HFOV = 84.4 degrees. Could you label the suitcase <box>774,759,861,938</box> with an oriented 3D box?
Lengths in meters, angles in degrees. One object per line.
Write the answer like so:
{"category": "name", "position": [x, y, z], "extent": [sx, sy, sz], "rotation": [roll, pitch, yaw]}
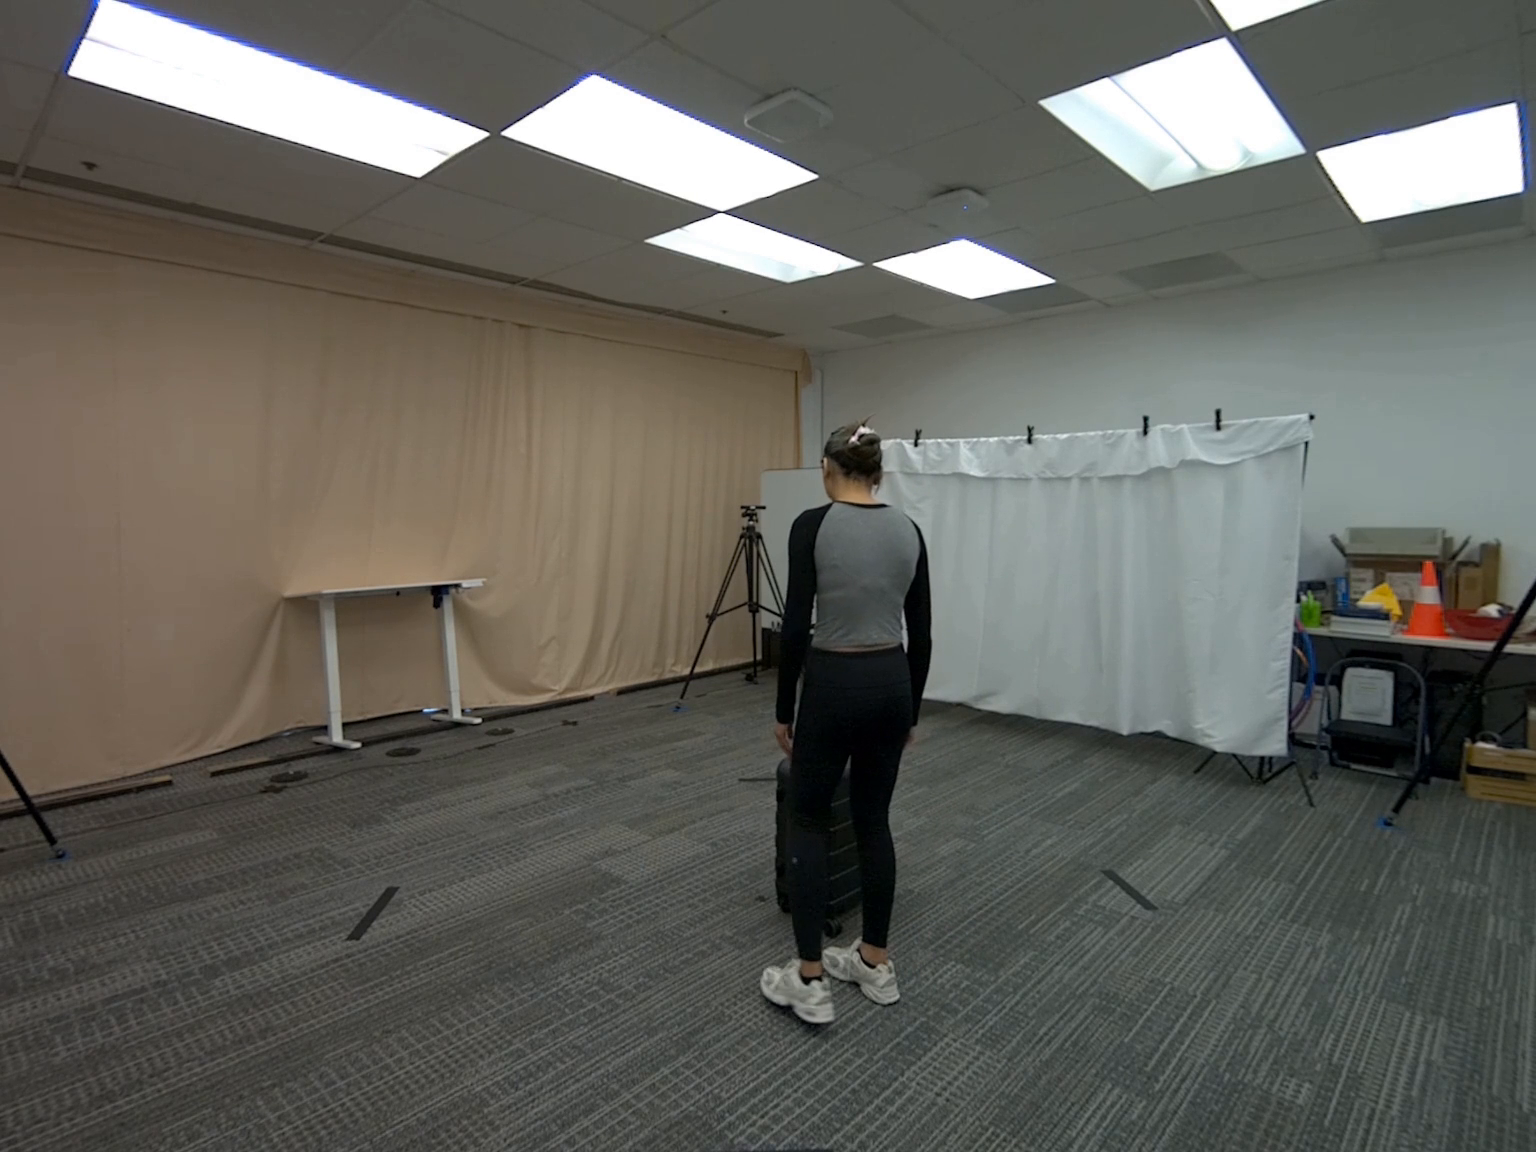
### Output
{"category": "suitcase", "position": [0.231, 0.670, 2.894], "extent": [0.266, 0.976, 0.372], "rotation": [5, 6, 41]}
